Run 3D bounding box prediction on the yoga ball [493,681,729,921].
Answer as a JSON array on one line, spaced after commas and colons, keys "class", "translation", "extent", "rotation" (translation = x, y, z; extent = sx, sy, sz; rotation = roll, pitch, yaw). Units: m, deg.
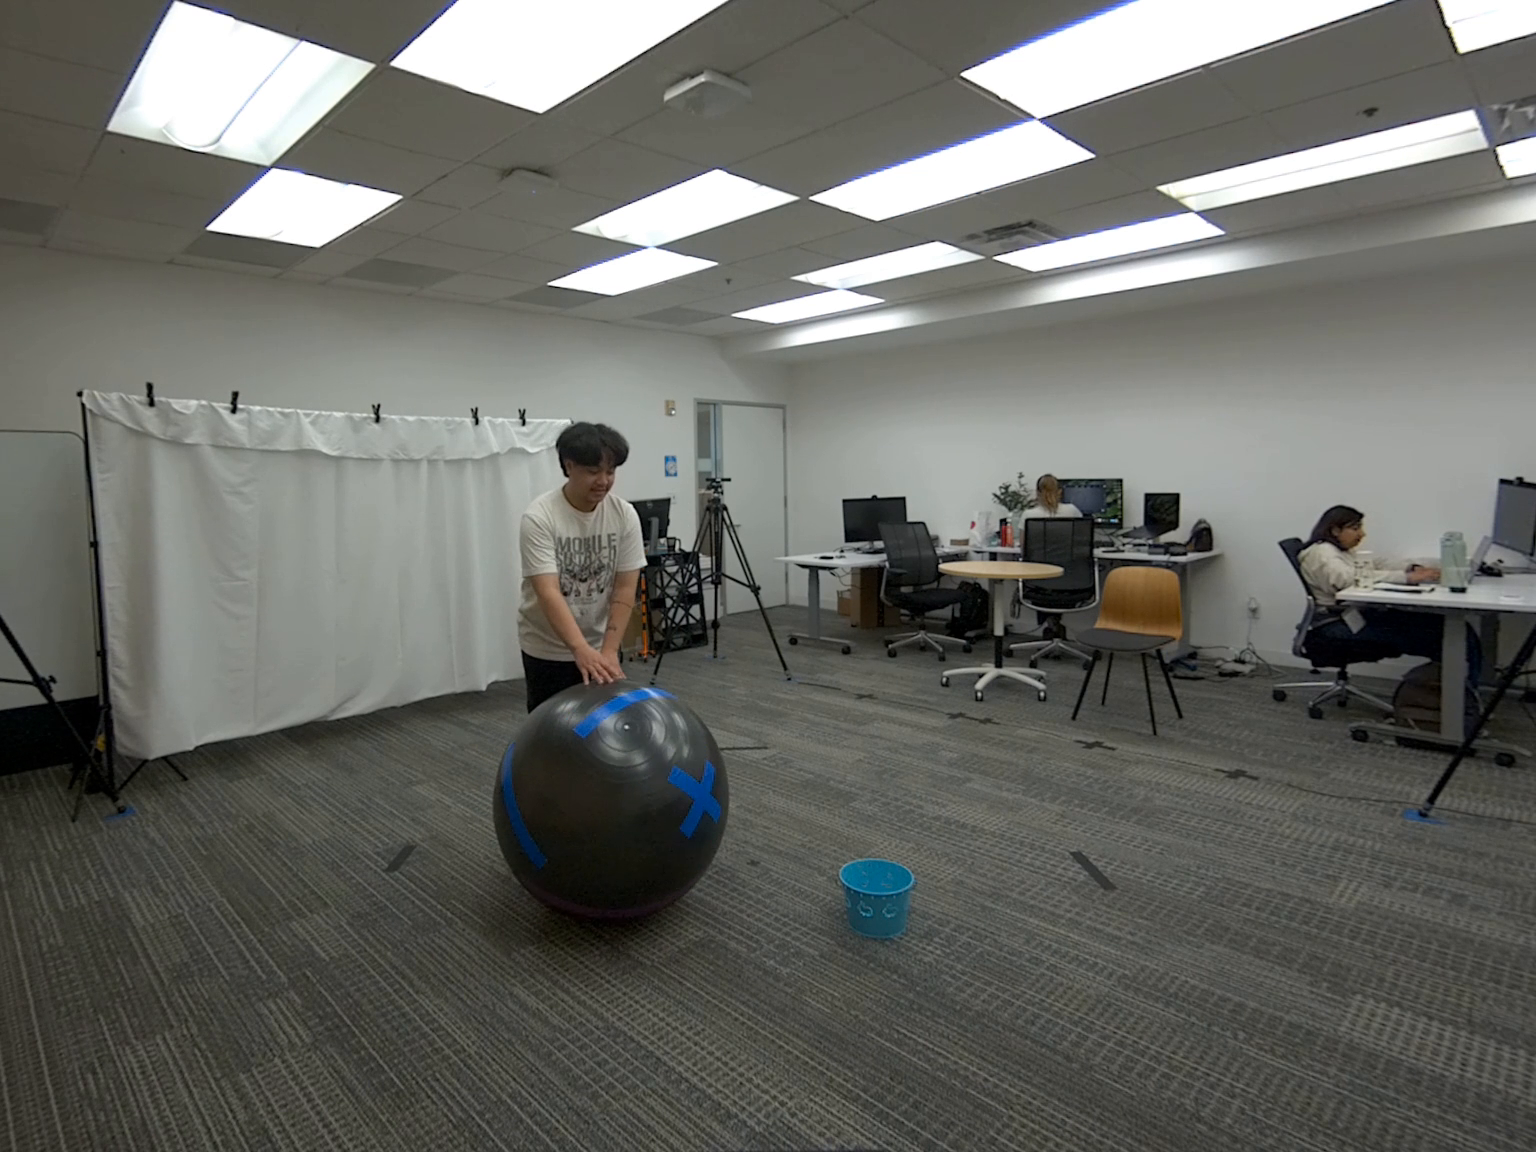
[{"class": "yoga ball", "translation": [-0.507, 0.727, 2.771], "extent": [0.757, 0.755, 0.762], "rotation": [-1, 5, -2]}]
